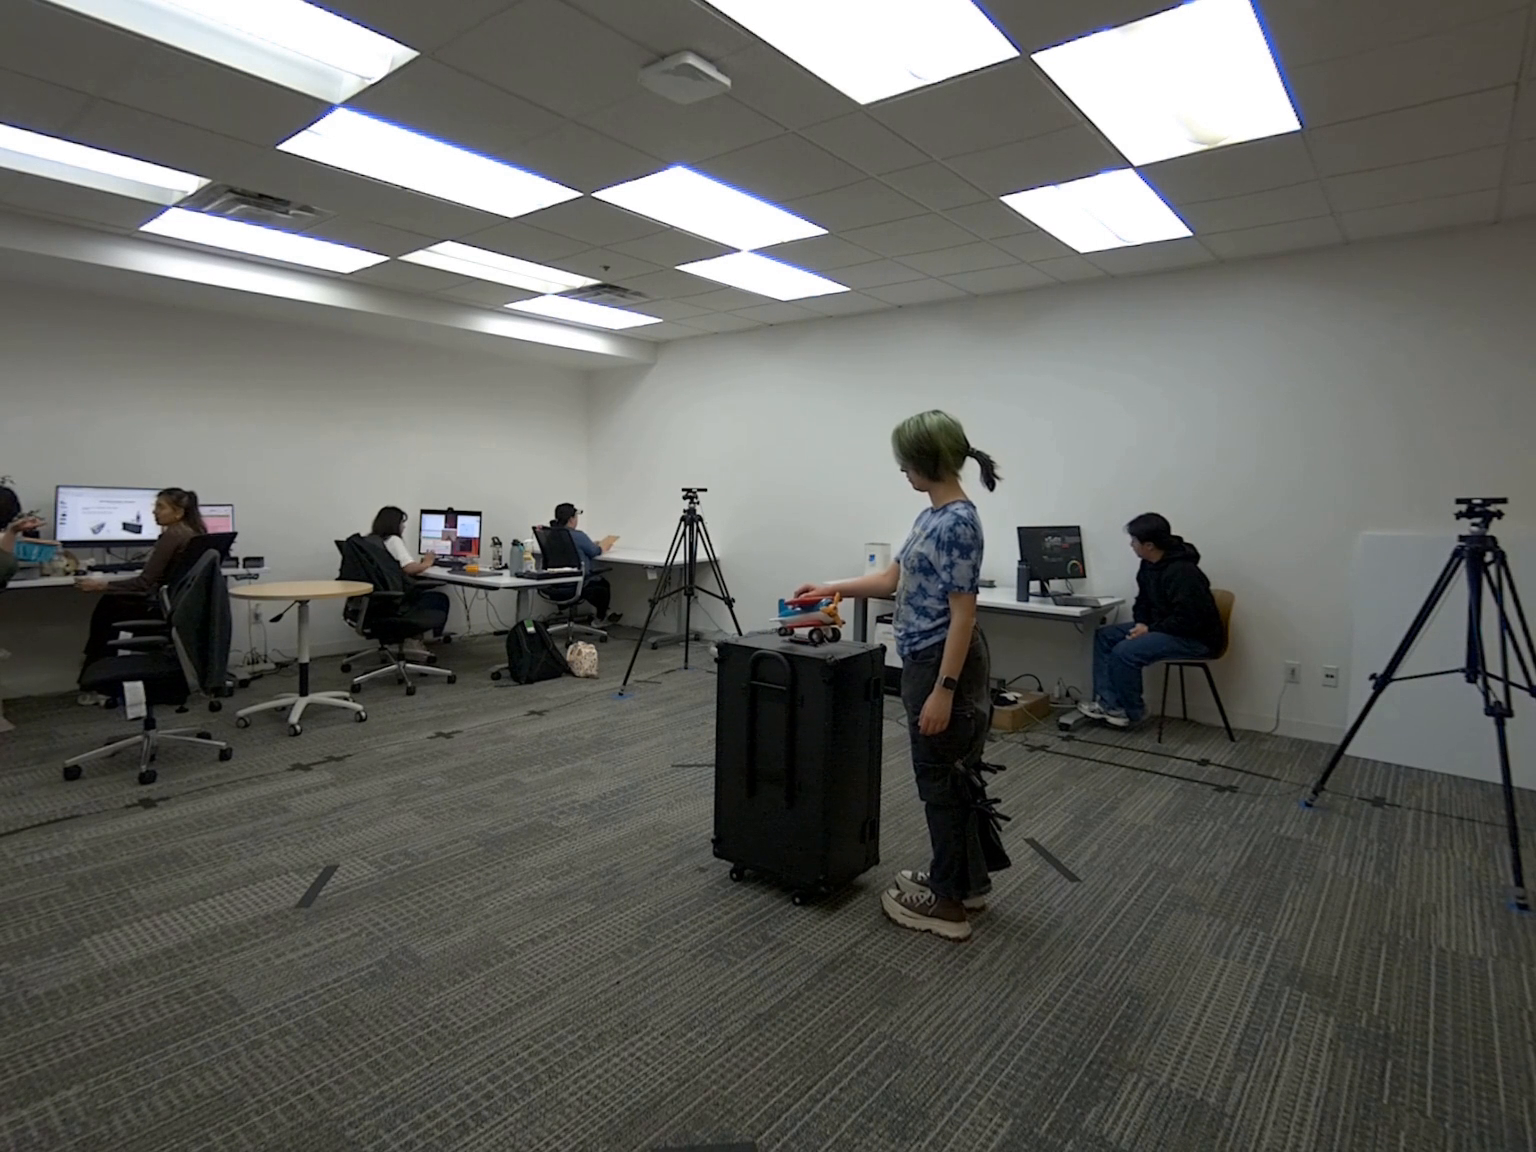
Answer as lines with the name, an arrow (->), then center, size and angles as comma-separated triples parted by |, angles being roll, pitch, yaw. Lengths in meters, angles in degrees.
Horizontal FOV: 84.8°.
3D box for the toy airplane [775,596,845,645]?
toy airplane -> 0.113, 0.139, 2.895 | 0.264, 0.156, 0.247 | 4, 5, 18
